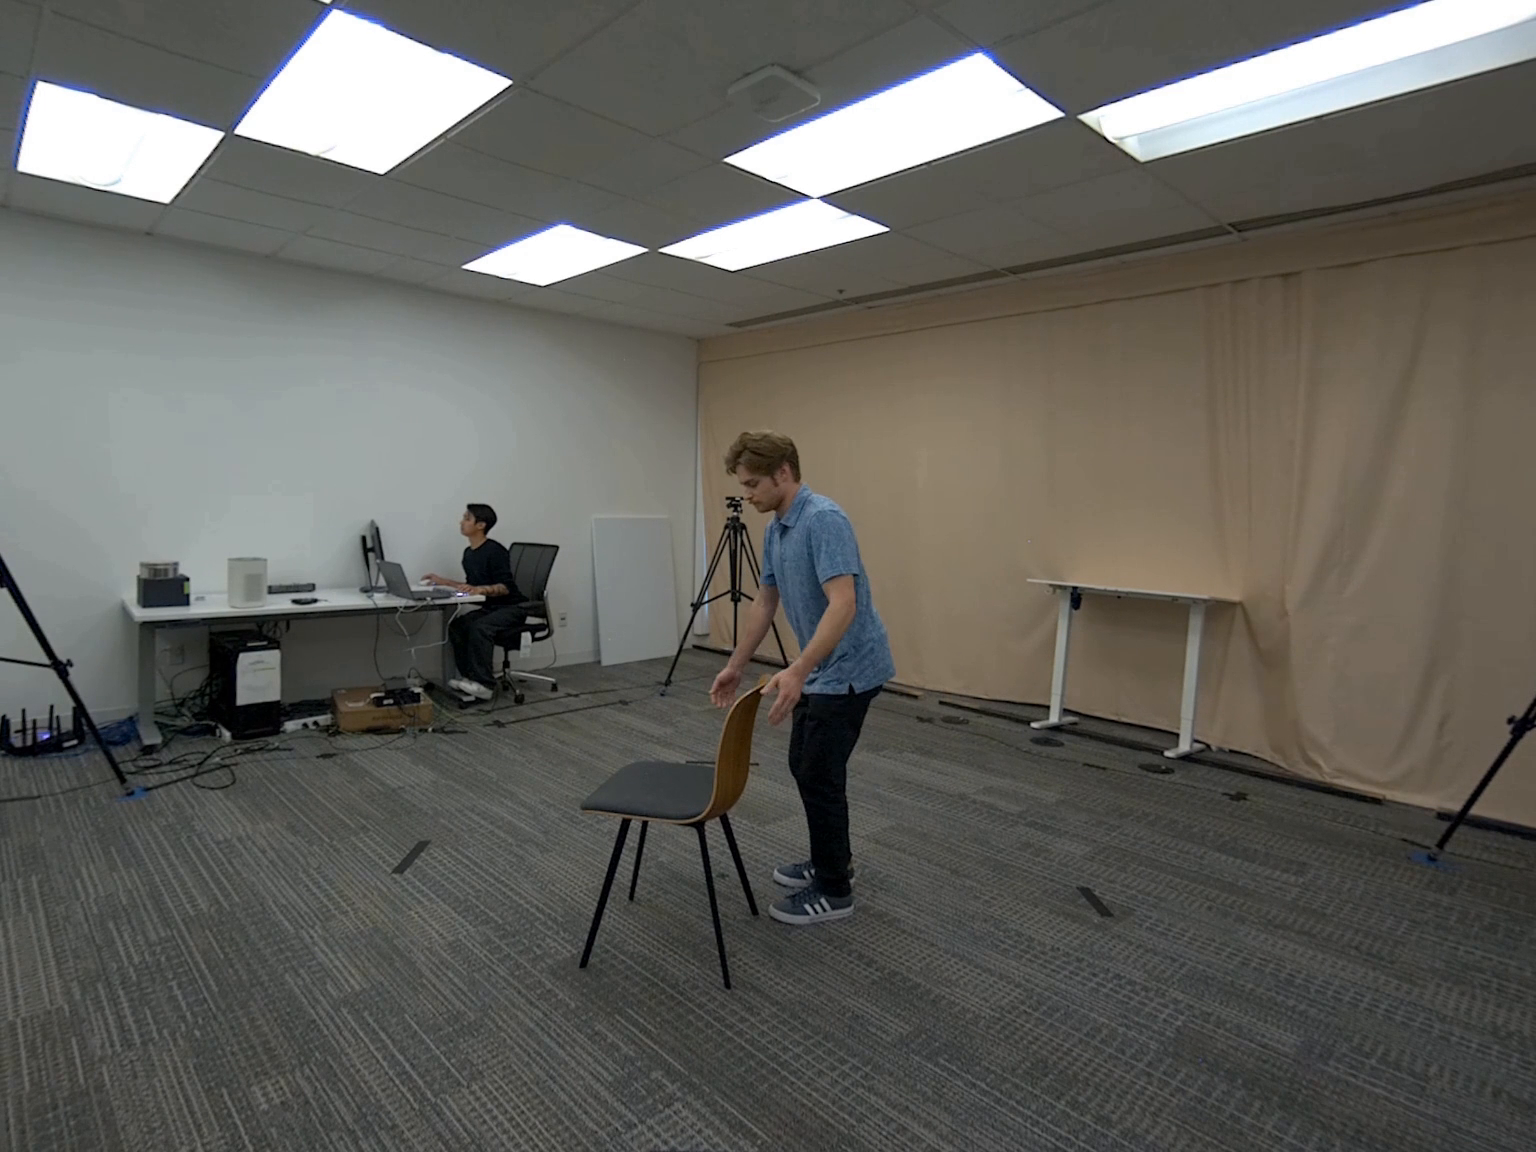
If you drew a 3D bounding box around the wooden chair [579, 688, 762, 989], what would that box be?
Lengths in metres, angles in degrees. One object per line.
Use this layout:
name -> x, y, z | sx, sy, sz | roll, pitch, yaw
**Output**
wooden chair -> -0.298, 0.720, 2.615 | 0.528, 0.874, 0.475 | 6, 5, 11
